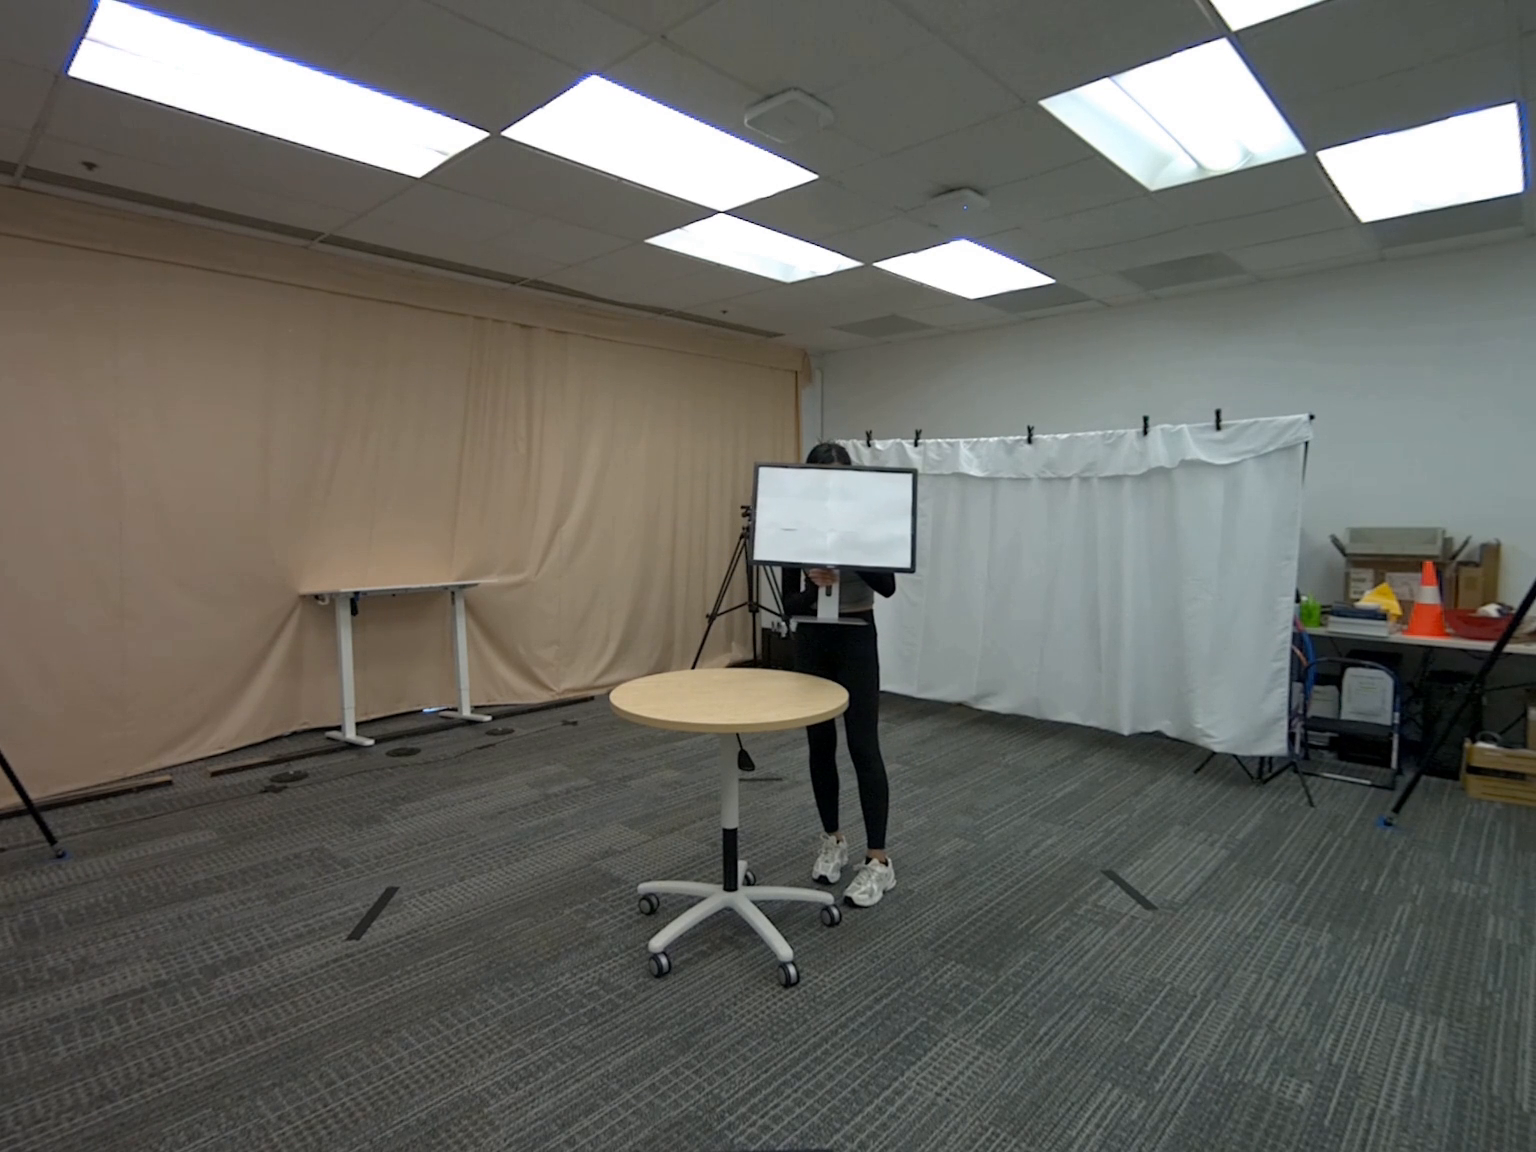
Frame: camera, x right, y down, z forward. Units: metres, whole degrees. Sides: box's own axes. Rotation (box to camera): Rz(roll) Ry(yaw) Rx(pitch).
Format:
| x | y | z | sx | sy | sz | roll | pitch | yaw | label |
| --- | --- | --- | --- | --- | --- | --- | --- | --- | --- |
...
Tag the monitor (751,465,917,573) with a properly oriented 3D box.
| x | y | z | sx | sy | sz | roll | pitch | yaw | label |
| --- | --- | --- | --- | --- | --- | --- | --- | --- | --- |
| 0.222 | -0.108 | 2.905 | 0.541 | 0.522 | 0.186 | 4 | 1 | 3 | monitor |
